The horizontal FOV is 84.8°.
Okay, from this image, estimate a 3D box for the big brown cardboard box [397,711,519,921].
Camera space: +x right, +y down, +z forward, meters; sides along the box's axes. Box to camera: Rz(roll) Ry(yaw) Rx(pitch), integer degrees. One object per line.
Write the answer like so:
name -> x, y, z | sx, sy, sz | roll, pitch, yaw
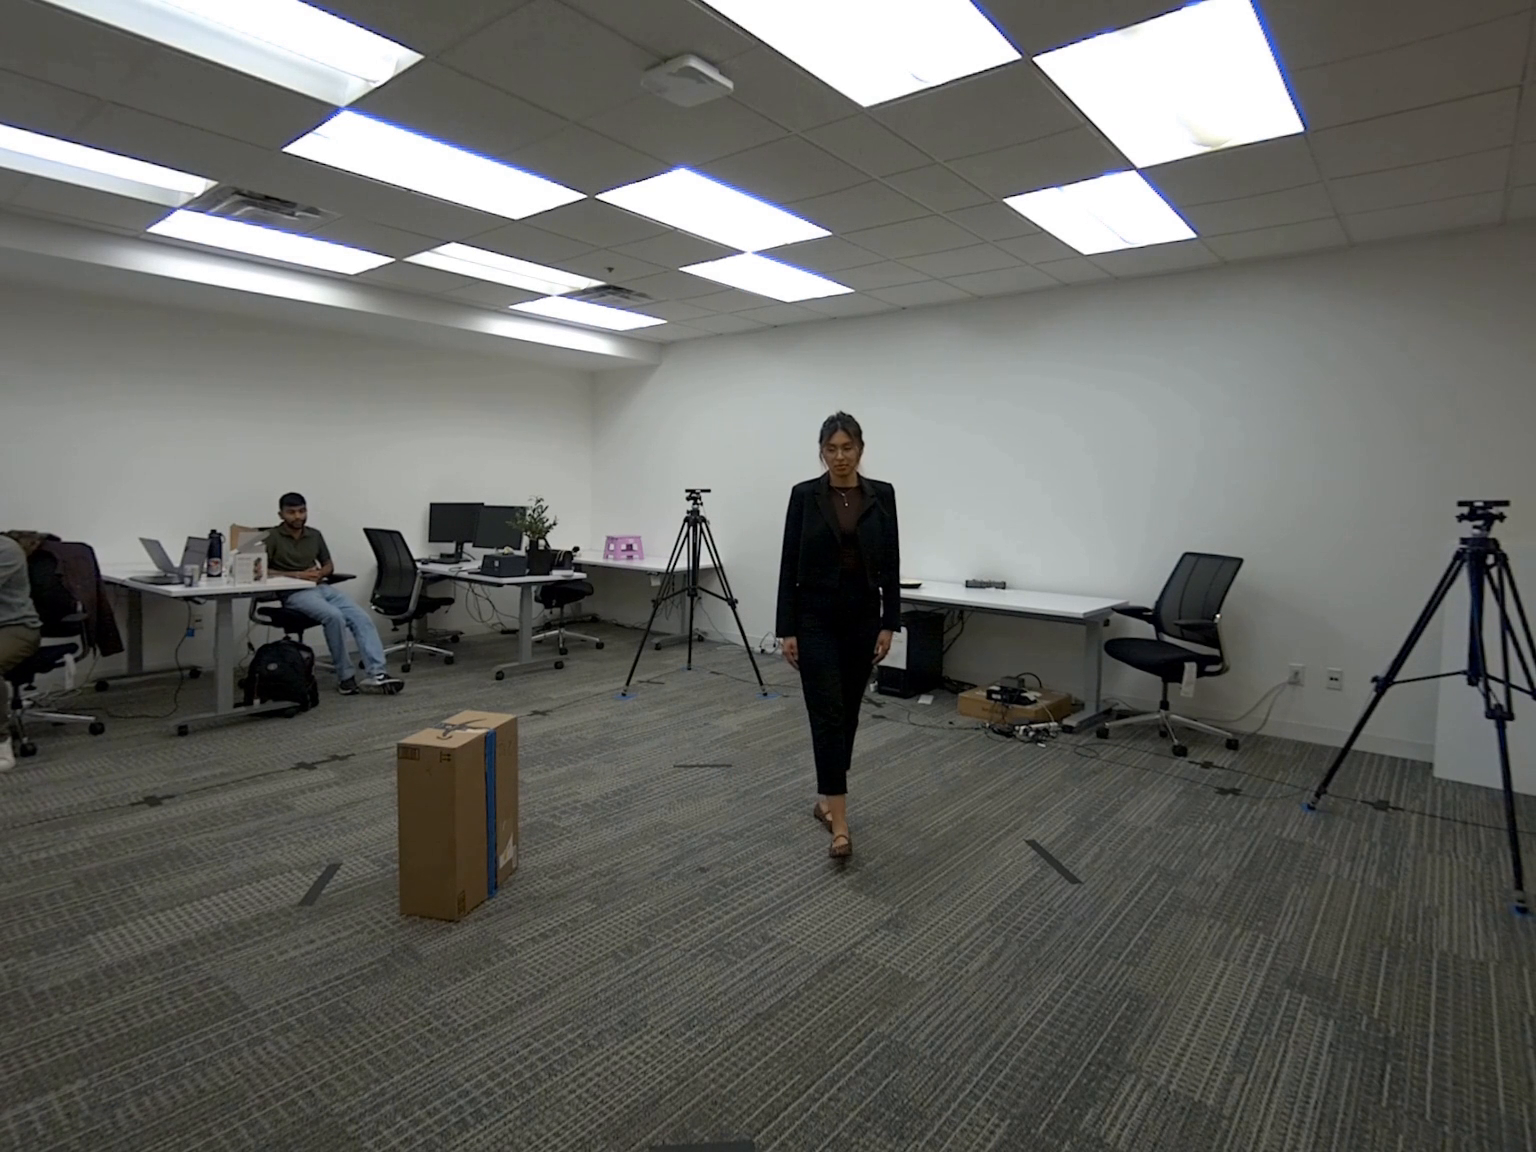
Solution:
big brown cardboard box -> -1.058, 0.801, 2.904 | 0.236, 0.587, 0.413 | 1, 5, 12
